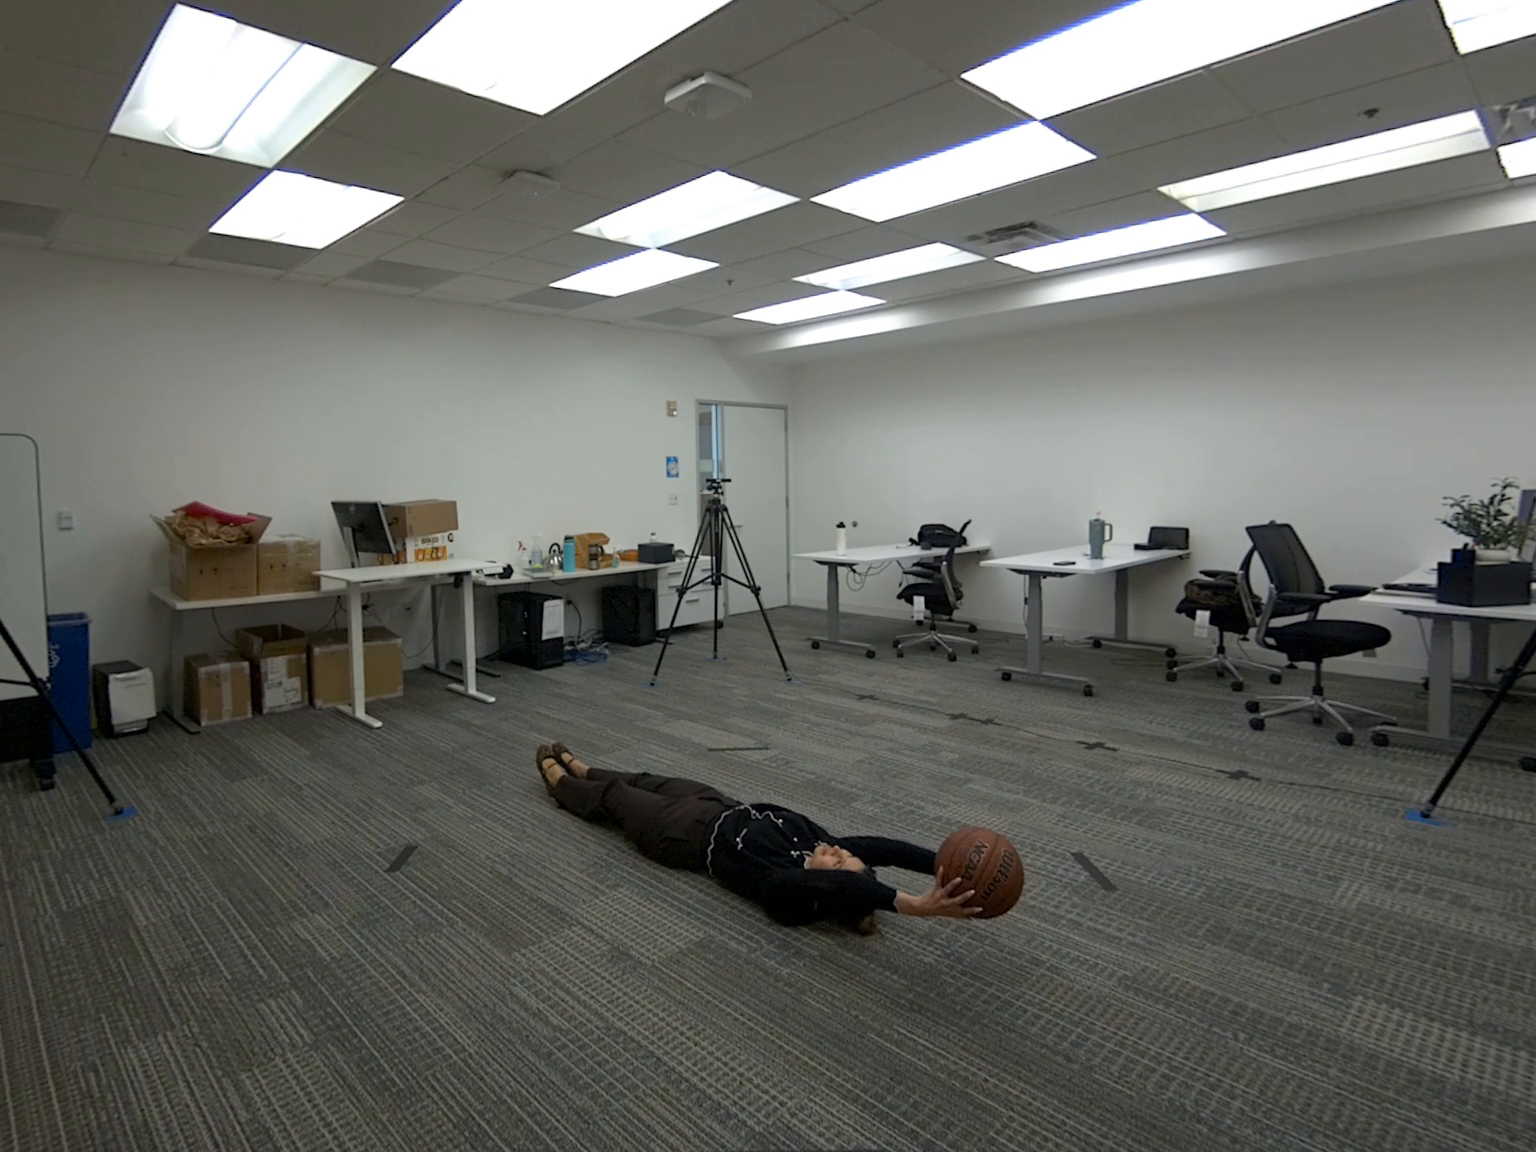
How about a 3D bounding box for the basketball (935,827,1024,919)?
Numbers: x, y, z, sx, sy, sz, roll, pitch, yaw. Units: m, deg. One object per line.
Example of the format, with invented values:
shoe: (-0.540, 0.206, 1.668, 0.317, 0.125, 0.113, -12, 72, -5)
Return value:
basketball: (0.584, 0.809, 2.339, 0.236, 0.235, 0.237, -1, 5, -2)
